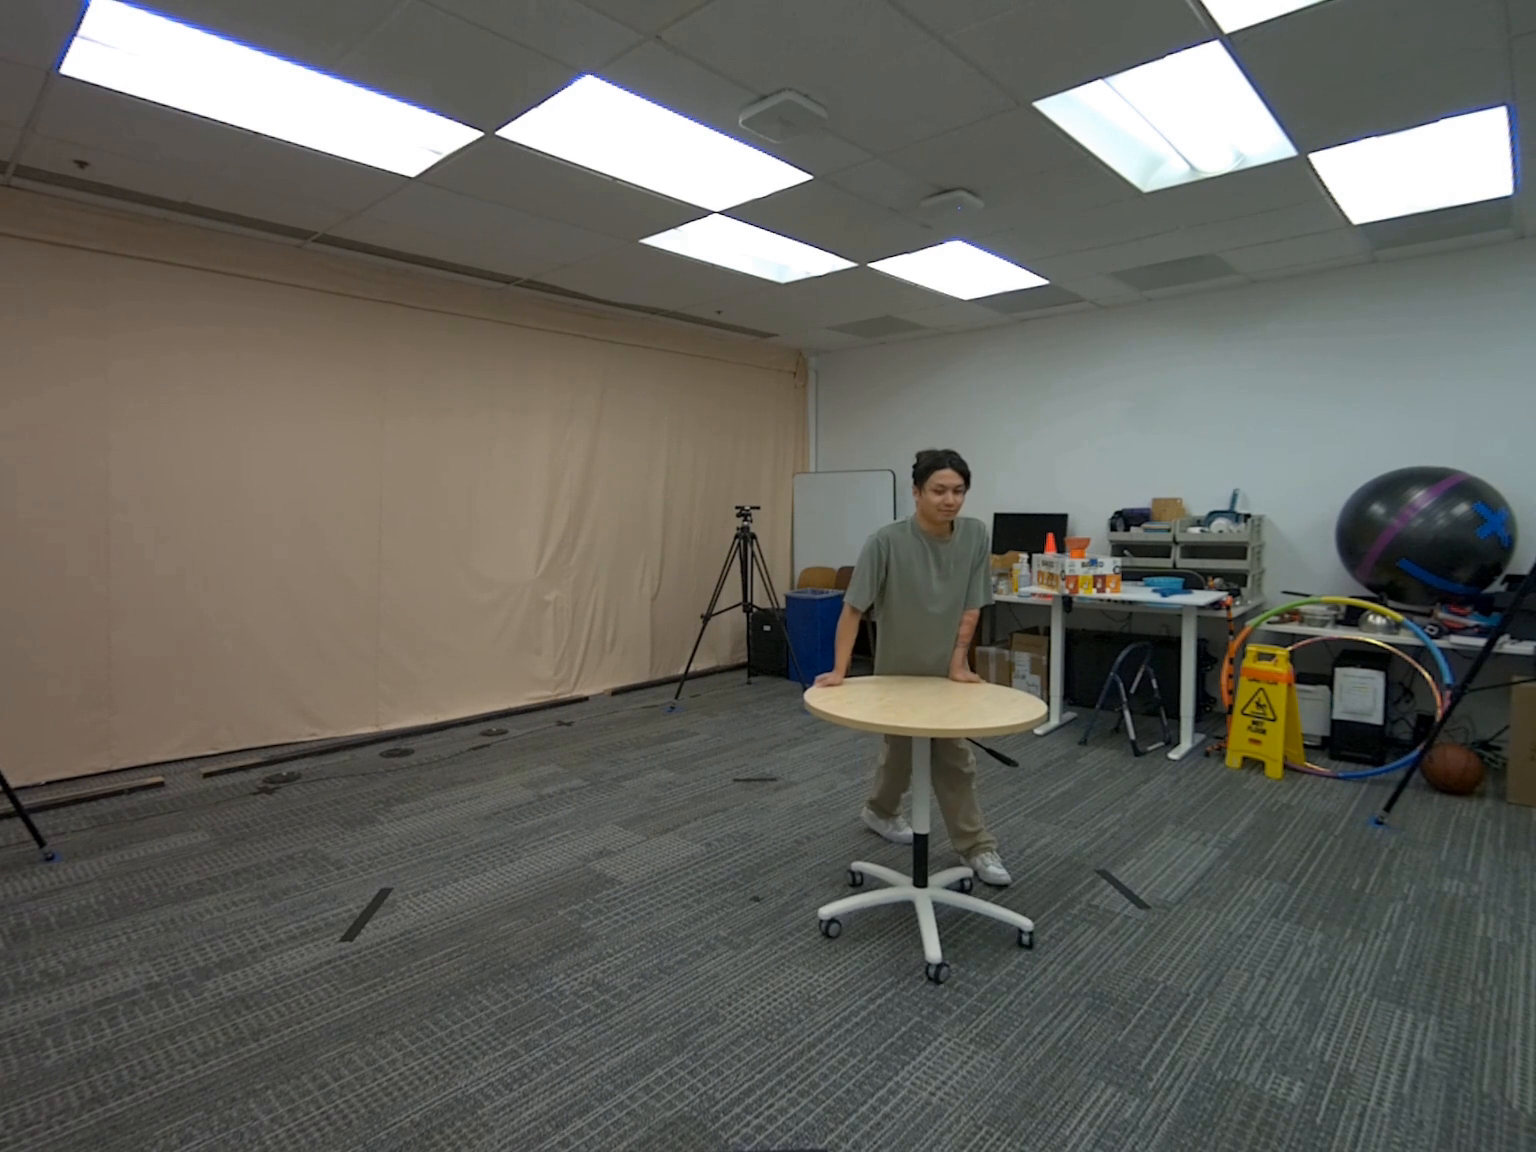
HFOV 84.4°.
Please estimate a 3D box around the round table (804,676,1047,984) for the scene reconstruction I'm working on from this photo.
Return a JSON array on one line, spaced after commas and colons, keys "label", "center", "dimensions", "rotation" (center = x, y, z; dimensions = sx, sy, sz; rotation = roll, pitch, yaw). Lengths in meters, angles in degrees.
[{"label": "round table", "center": [0.488, 0.778, 2.768], "dimensions": [0.784, 0.785, 0.788], "rotation": [0, 3, -2]}]
